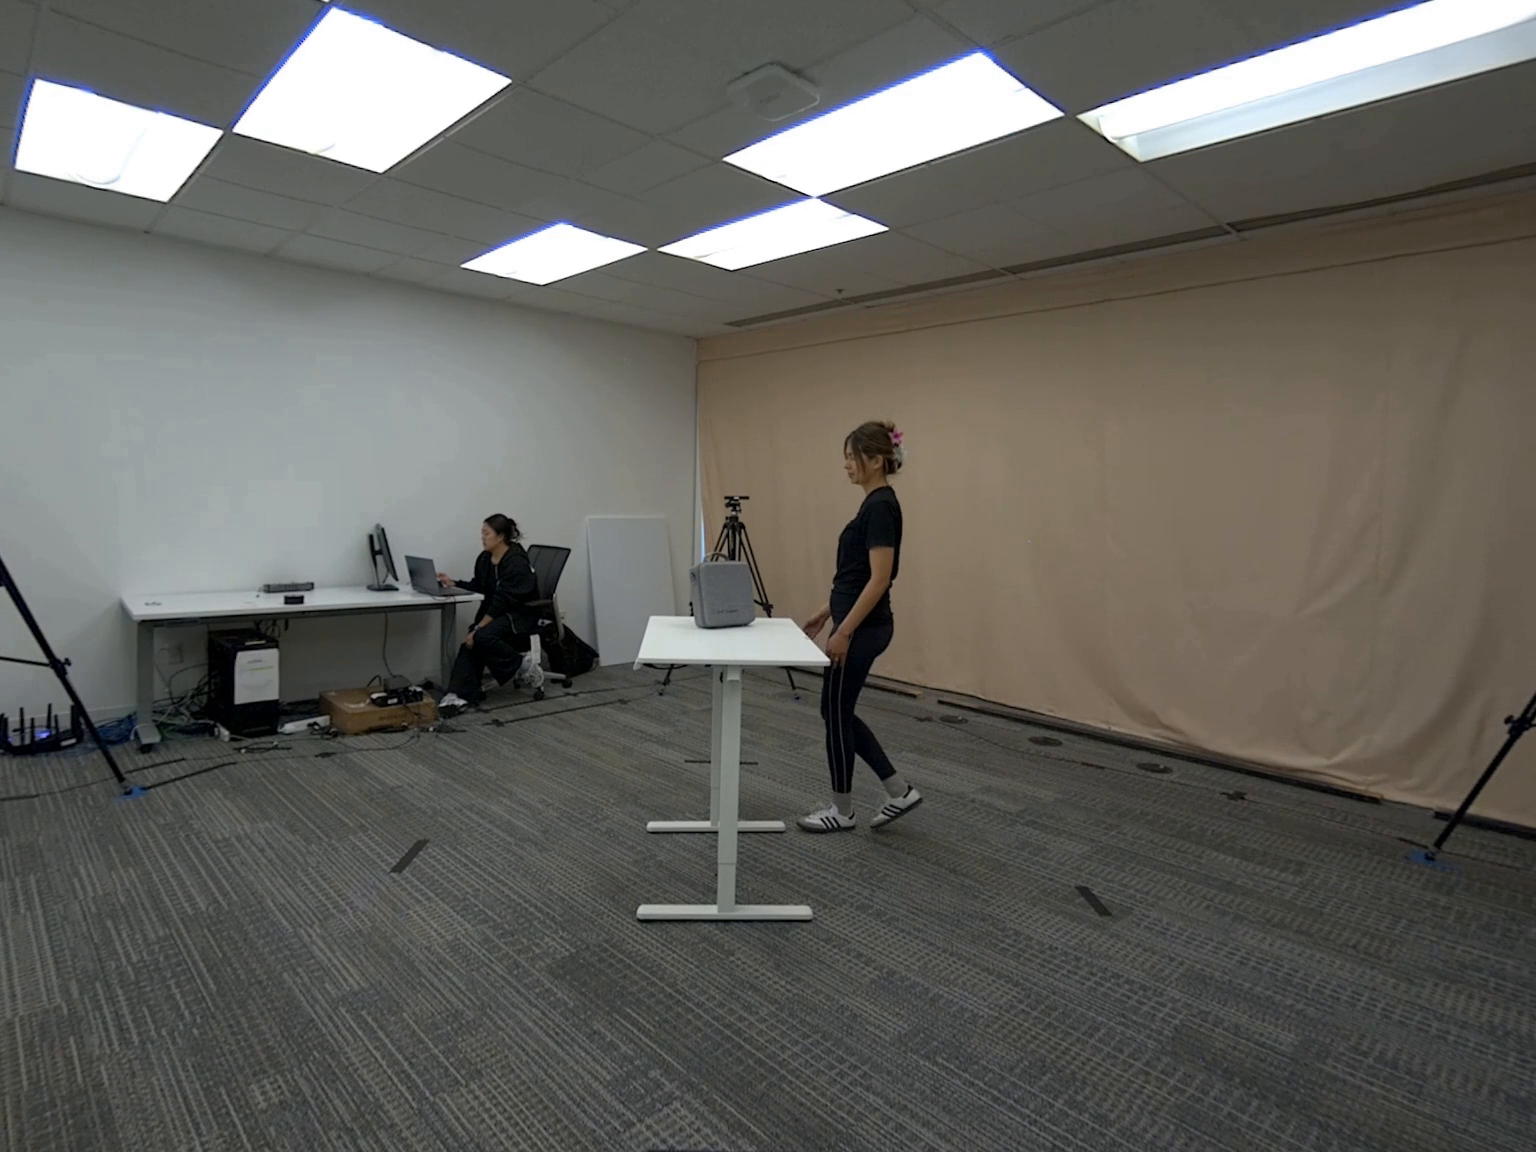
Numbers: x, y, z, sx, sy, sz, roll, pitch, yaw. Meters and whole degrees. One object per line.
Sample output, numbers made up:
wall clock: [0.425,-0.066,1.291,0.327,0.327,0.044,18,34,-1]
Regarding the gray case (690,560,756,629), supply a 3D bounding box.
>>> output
gray case: [-0.190,0.070,3.344,0.251,0.262,0.106,0,-8,-40]
